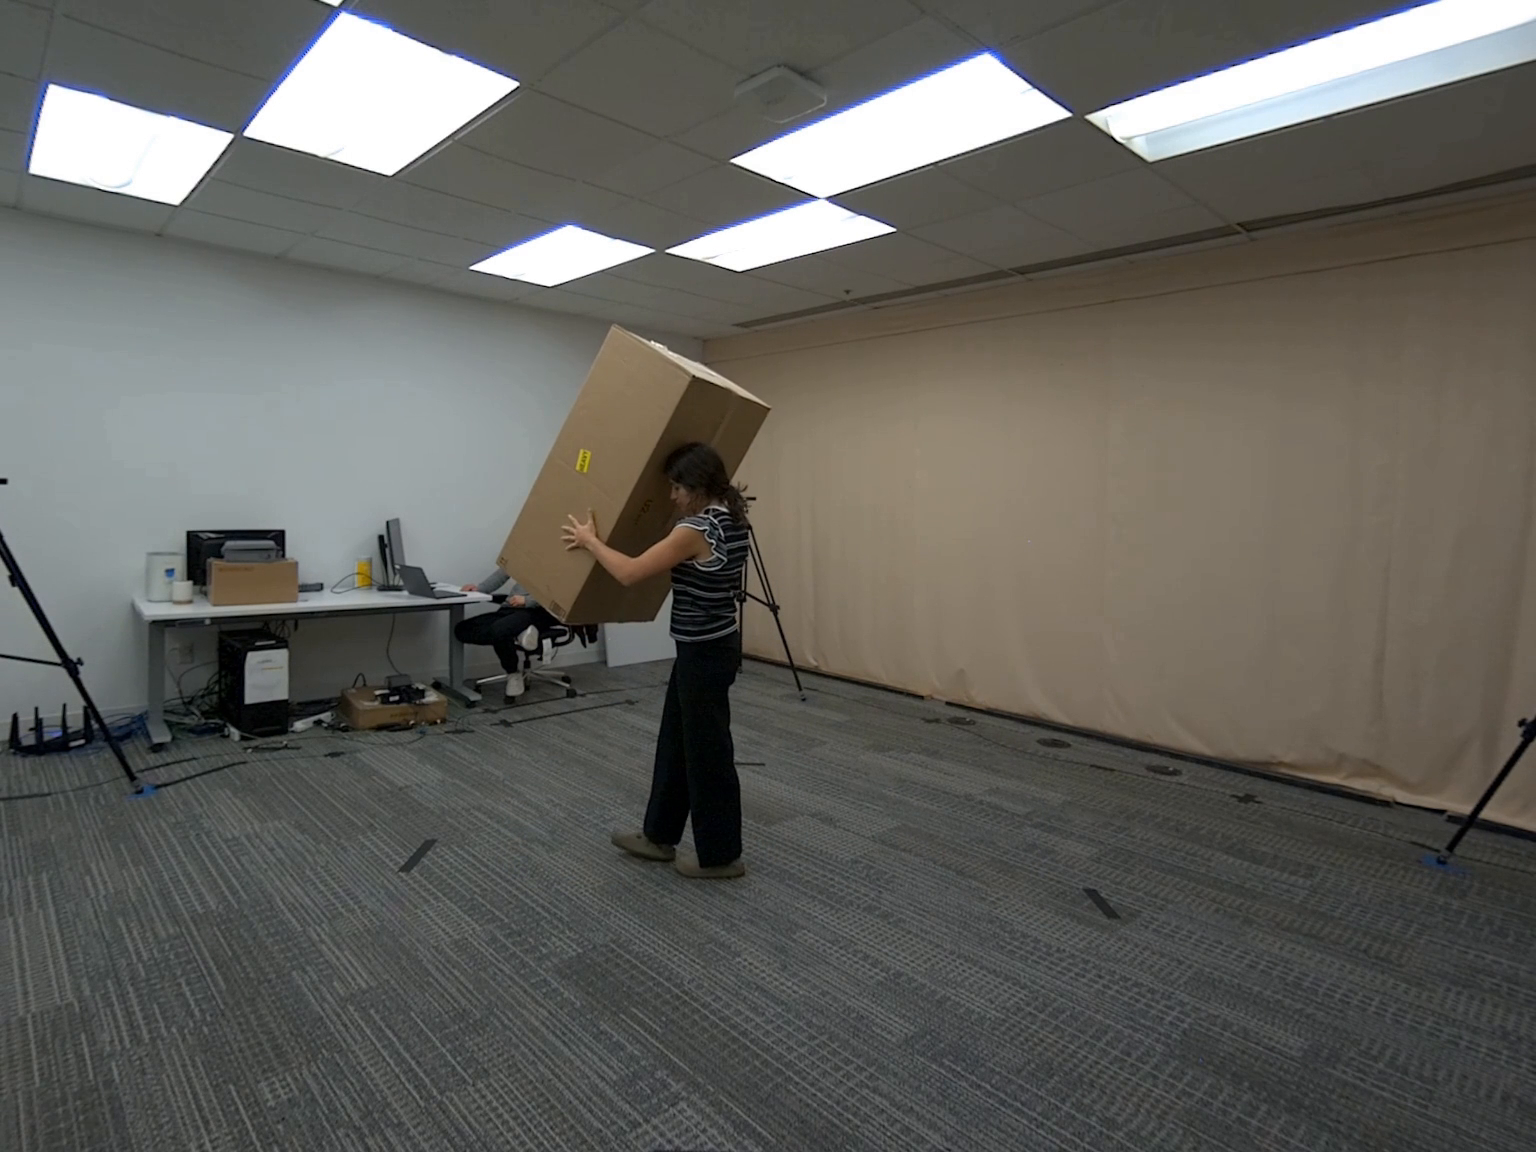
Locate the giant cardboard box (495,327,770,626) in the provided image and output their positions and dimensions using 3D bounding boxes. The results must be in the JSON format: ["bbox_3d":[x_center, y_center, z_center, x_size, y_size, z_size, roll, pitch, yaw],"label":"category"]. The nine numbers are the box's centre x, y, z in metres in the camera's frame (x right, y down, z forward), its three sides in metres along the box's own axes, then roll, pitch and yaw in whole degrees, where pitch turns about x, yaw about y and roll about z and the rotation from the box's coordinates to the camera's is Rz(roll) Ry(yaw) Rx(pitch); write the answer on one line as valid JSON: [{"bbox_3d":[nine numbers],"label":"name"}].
[{"bbox_3d":[-0.528,-0.352,3.279,0.437,1.022,0.565,36,15,25],"label":"giant cardboard box"}]
